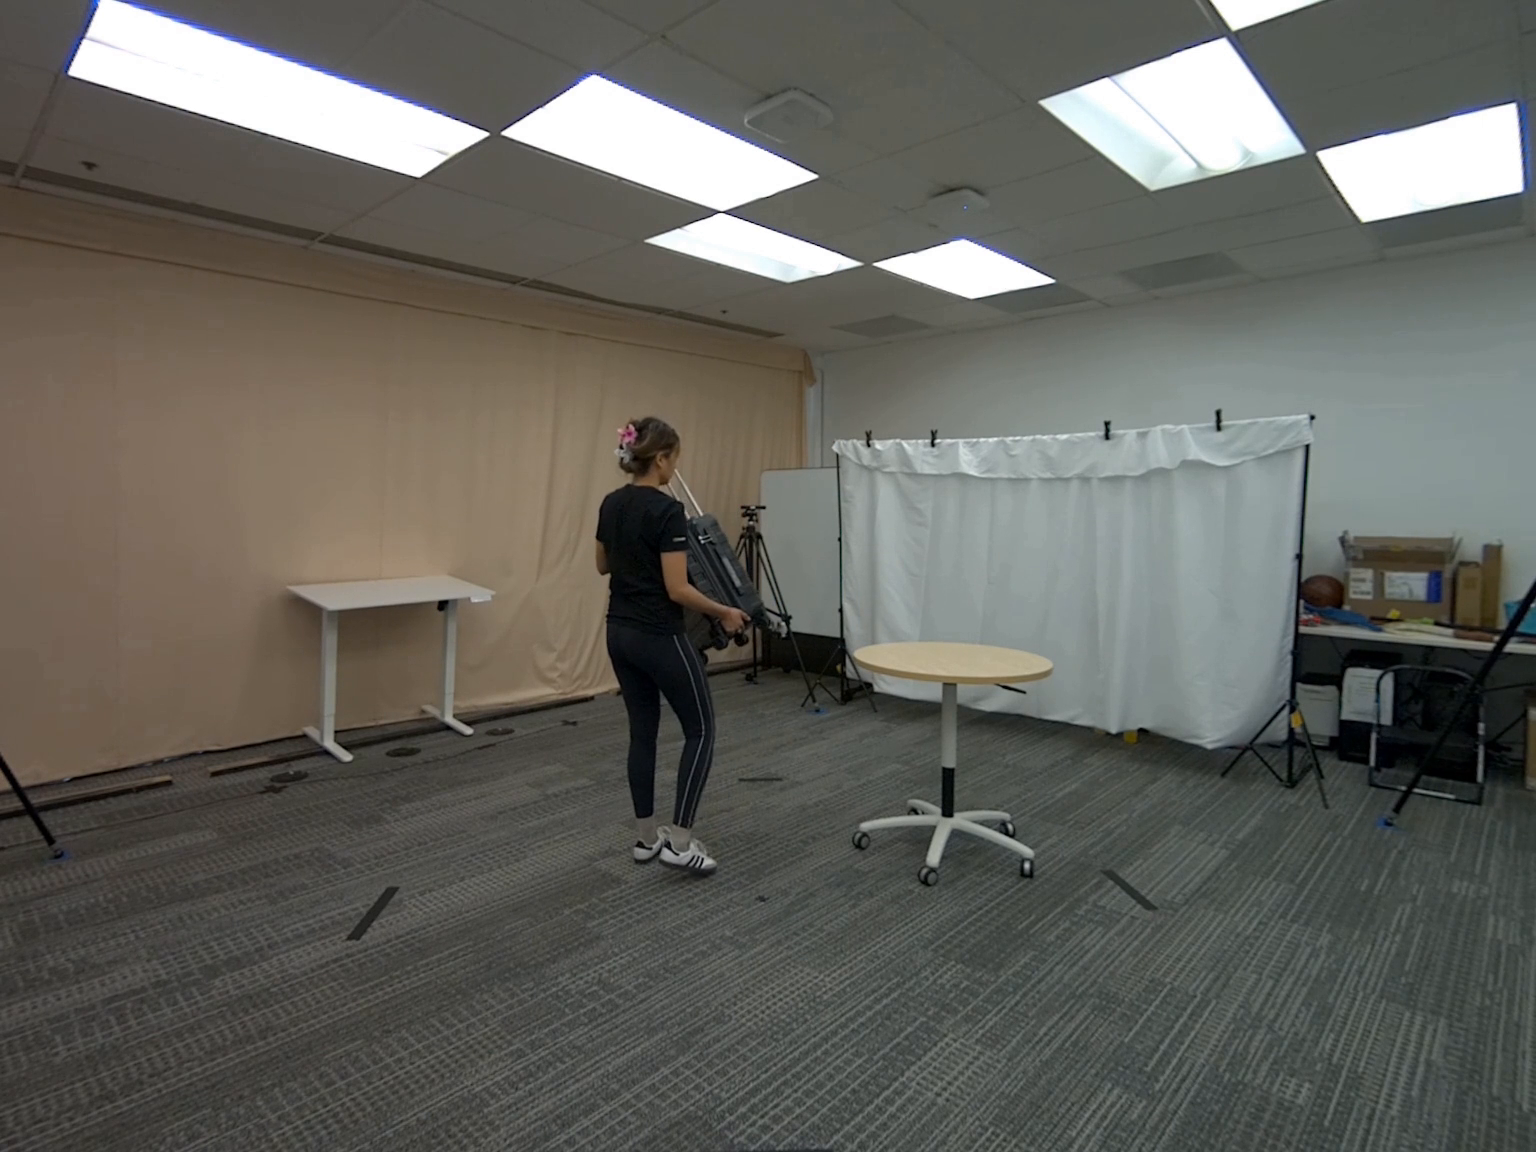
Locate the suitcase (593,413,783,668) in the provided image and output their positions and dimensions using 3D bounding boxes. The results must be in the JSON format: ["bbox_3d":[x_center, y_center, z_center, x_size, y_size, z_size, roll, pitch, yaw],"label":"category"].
[{"bbox_3d":[-0.359,-0.142,3.533,0.253,0.988,0.386,-26,-9,-25],"label":"suitcase"}]
